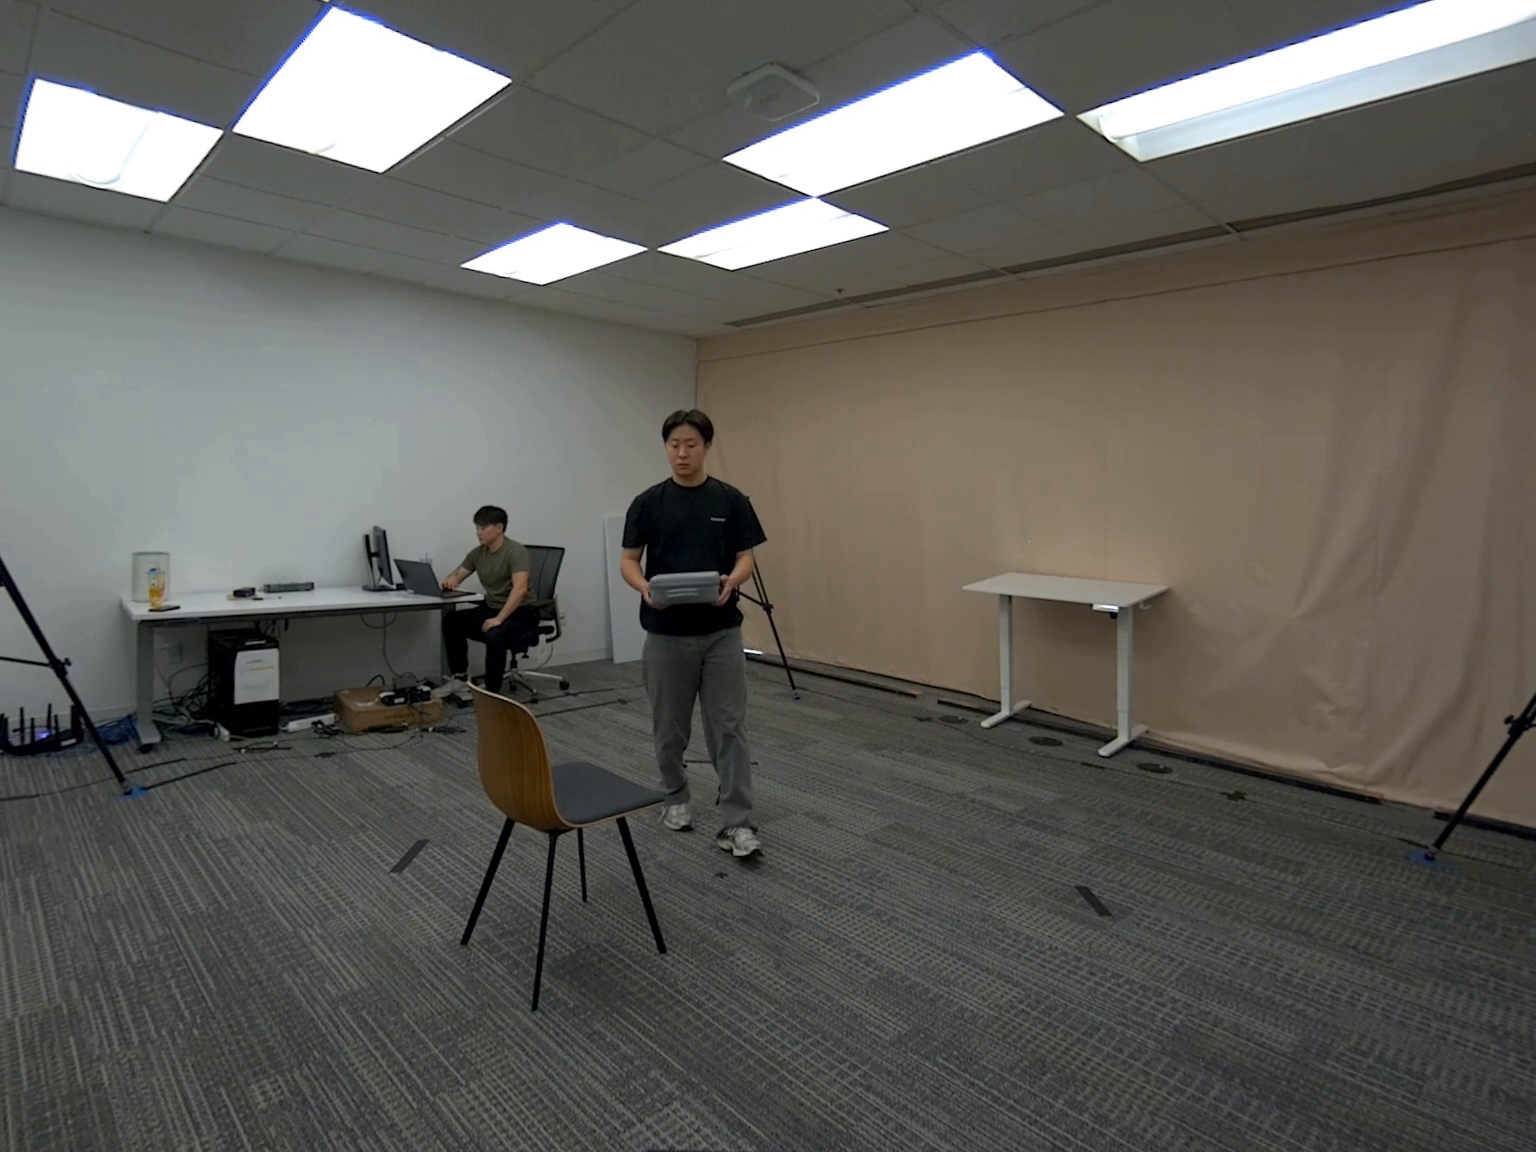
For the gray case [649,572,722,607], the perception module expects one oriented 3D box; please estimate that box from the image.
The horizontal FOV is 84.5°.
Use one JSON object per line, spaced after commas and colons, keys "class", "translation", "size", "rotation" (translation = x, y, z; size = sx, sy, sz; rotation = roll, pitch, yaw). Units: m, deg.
{"class": "gray case", "translation": [-0.310, 0.050, 3.124], "size": [0.264, 0.103, 0.287], "rotation": [-1, 4, 5]}
